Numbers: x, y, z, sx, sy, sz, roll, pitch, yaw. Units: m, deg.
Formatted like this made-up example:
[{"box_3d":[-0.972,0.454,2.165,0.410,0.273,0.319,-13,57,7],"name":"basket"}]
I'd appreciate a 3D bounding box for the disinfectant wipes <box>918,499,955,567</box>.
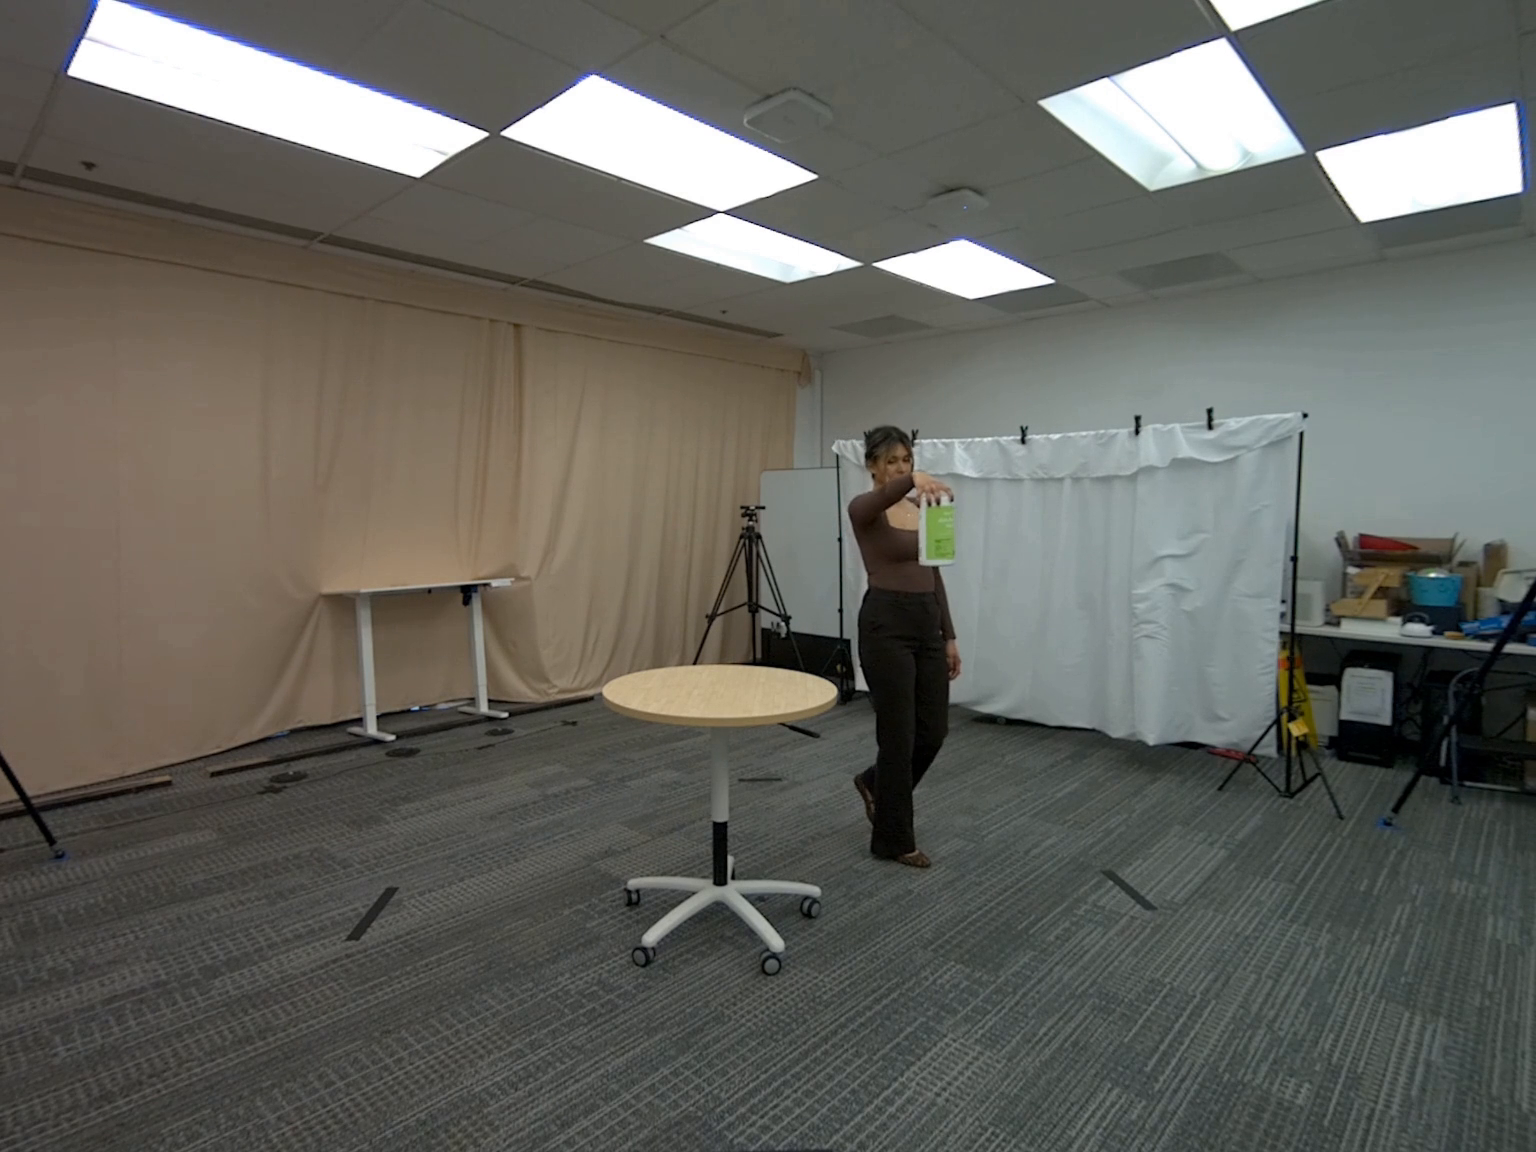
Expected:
[{"box_3d":[0.528,-0.138,2.659,0.118,0.217,0.118,-5,4,-1],"name":"disinfectant wipes"}]
